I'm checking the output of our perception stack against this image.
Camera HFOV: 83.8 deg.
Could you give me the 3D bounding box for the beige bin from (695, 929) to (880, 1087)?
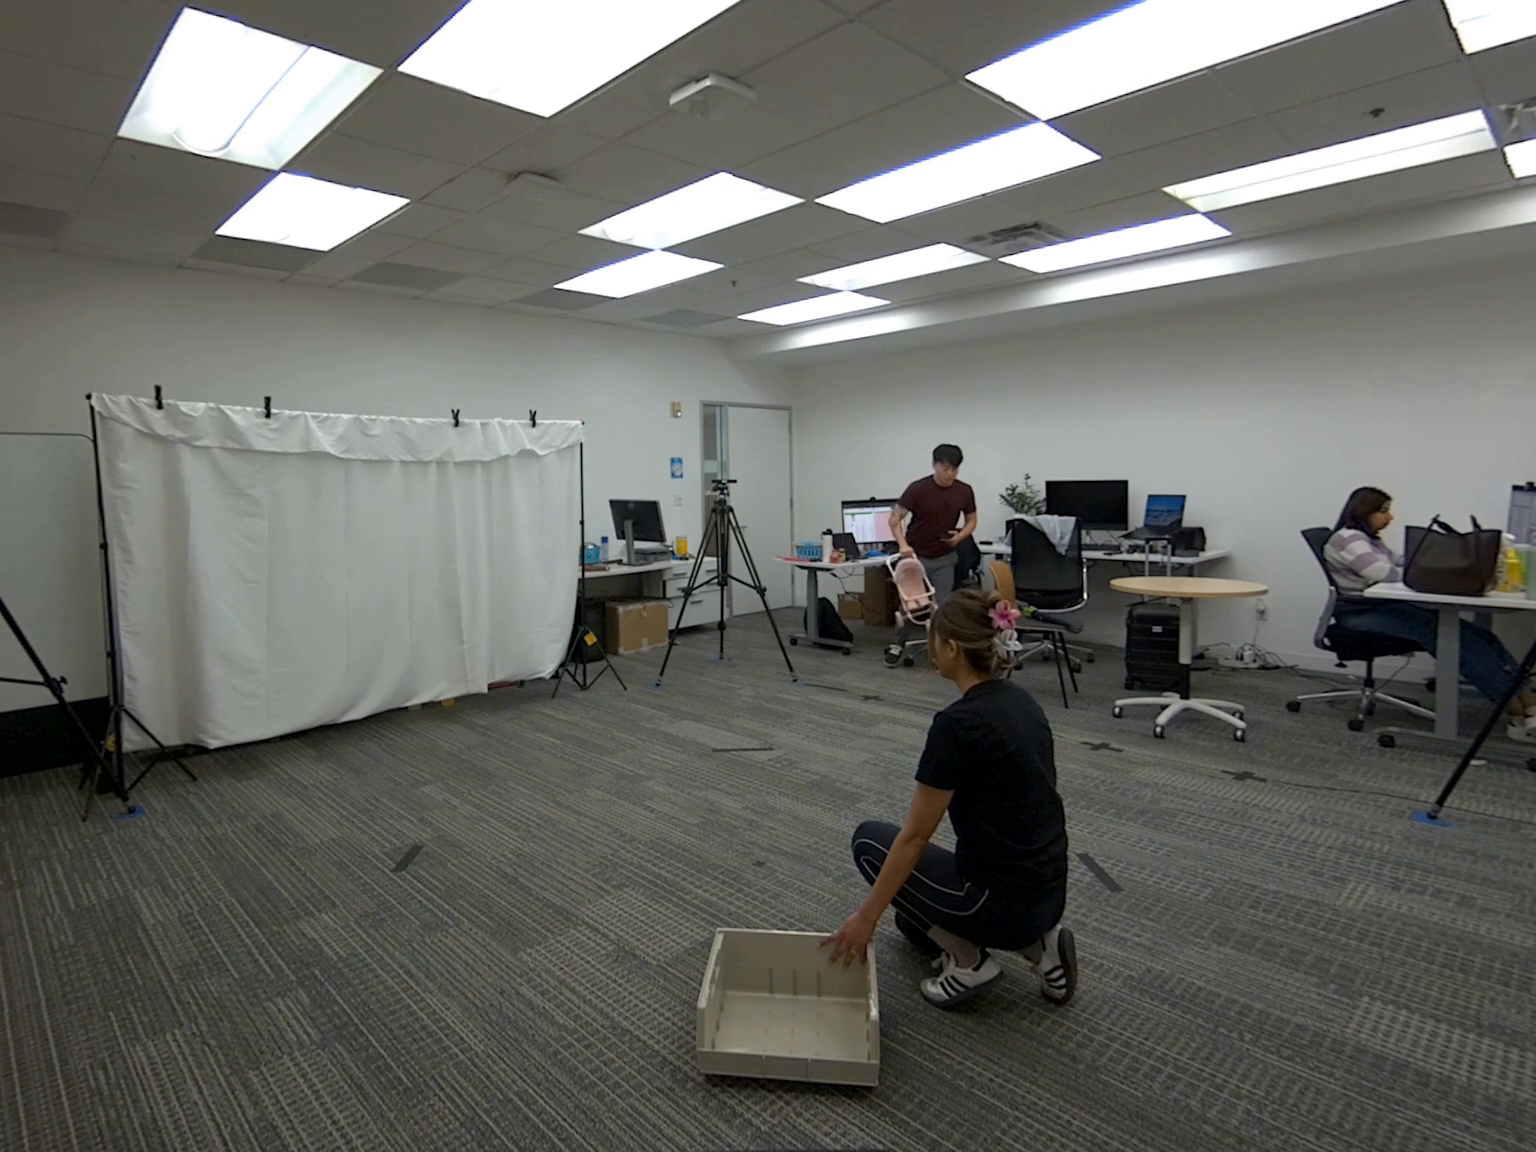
[{"bbox_3d":[0.067,1.081,2.103,0.425,0.188,0.376,-1,5,6],"label":"beige bin"}]
